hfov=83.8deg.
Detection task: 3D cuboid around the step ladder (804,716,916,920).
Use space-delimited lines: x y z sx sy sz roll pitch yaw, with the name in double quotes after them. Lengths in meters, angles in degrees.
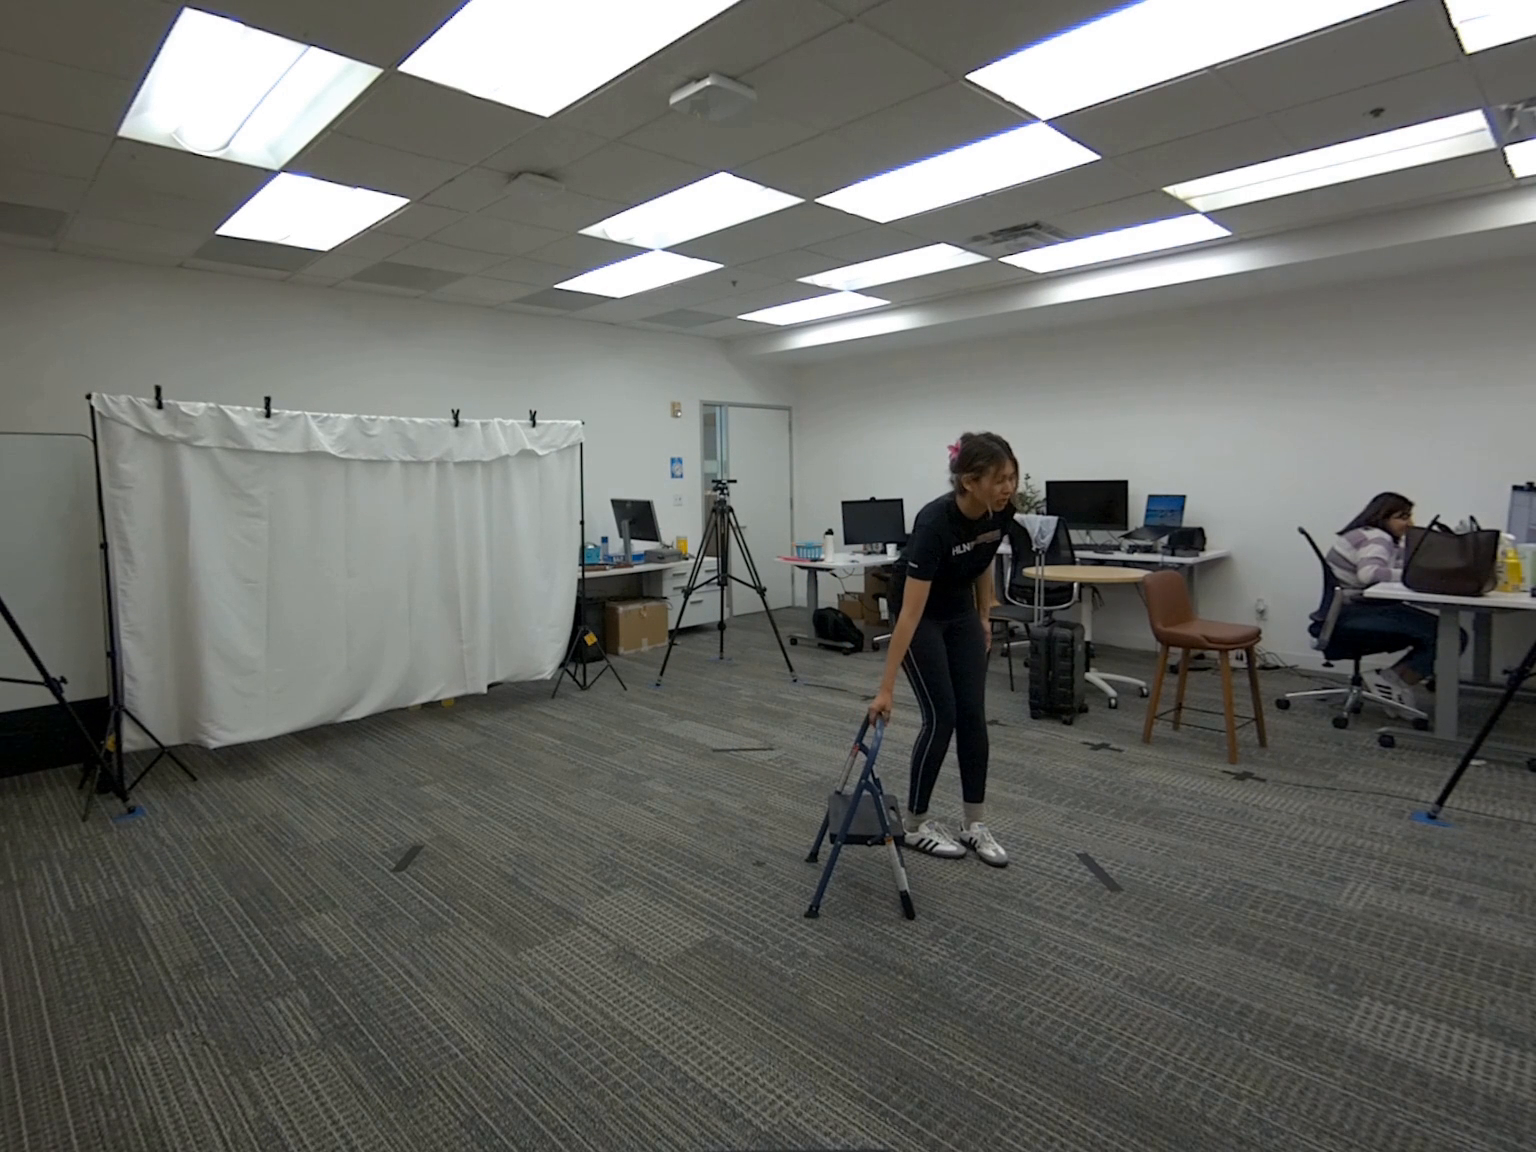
0.303 0.763 2.892 0.351 0.604 0.430 -1 4 4 "step ladder"
